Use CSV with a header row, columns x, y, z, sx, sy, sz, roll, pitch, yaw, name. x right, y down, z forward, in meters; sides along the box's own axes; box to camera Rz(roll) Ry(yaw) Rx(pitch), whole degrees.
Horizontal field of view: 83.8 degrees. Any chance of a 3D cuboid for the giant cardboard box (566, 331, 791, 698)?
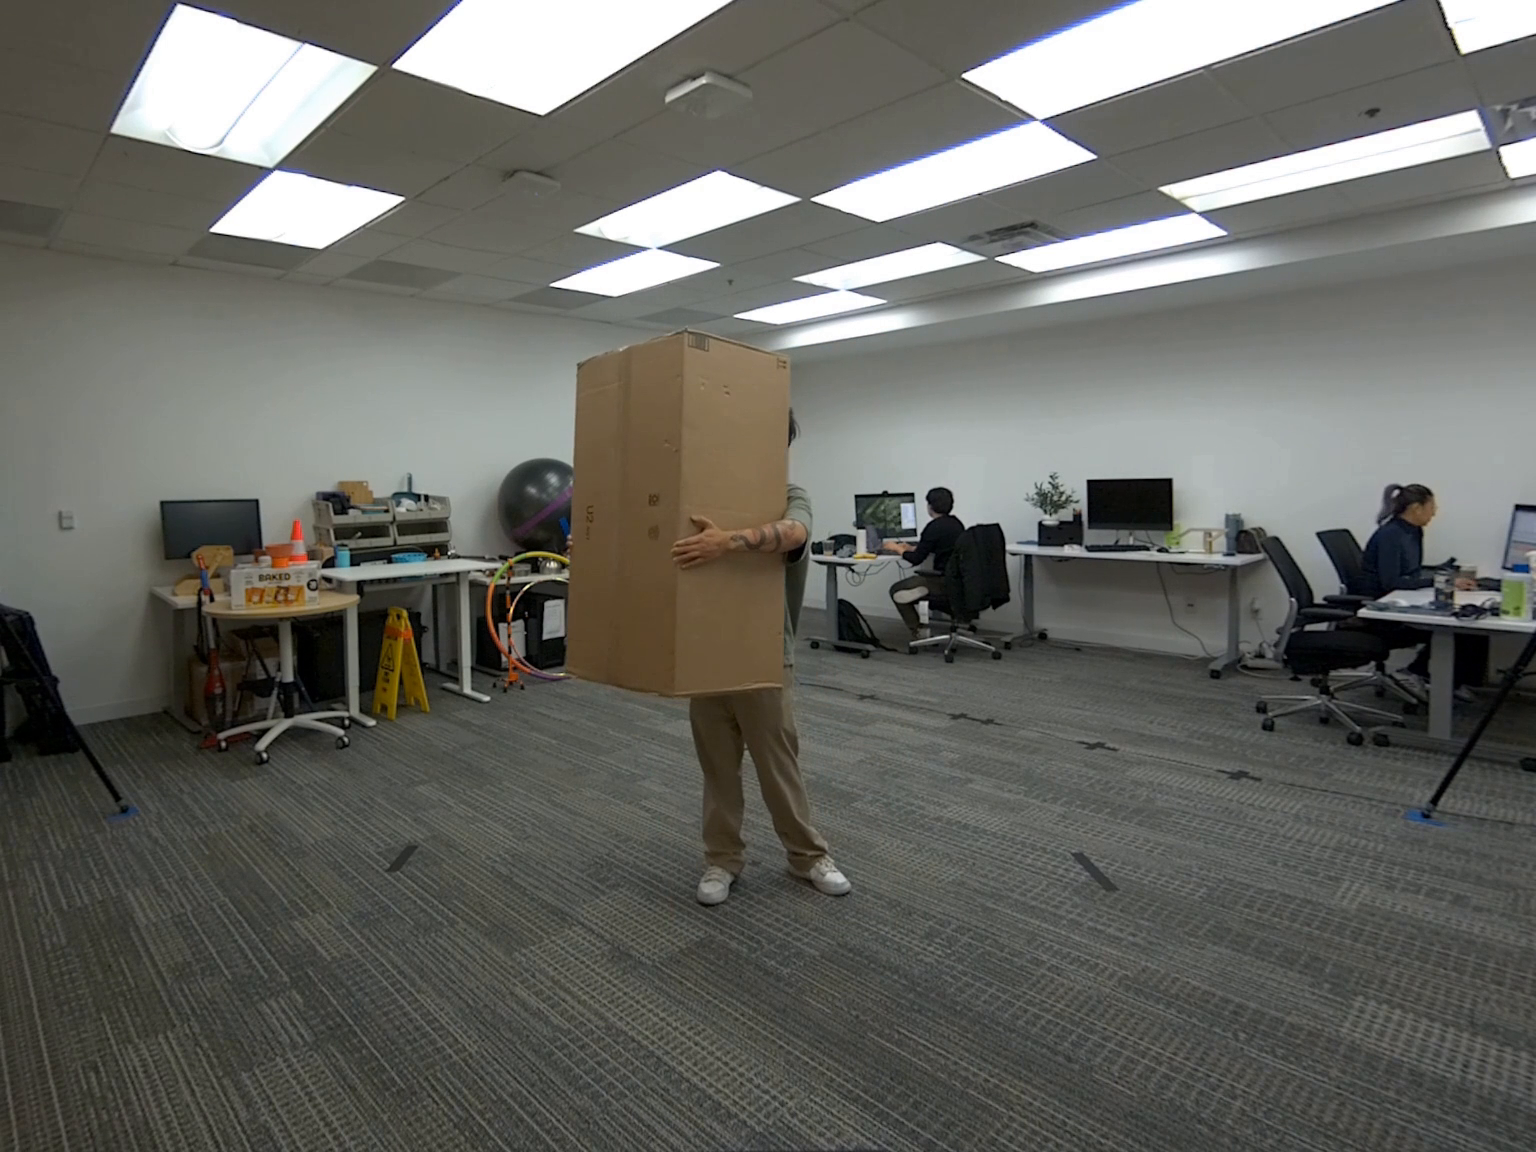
x,y,z,sx,sy,sz,roll,pitch,yaw,name
-0.288,-0.177,2.691,0.413,1.029,0.594,4,-4,-42,giant cardboard box
